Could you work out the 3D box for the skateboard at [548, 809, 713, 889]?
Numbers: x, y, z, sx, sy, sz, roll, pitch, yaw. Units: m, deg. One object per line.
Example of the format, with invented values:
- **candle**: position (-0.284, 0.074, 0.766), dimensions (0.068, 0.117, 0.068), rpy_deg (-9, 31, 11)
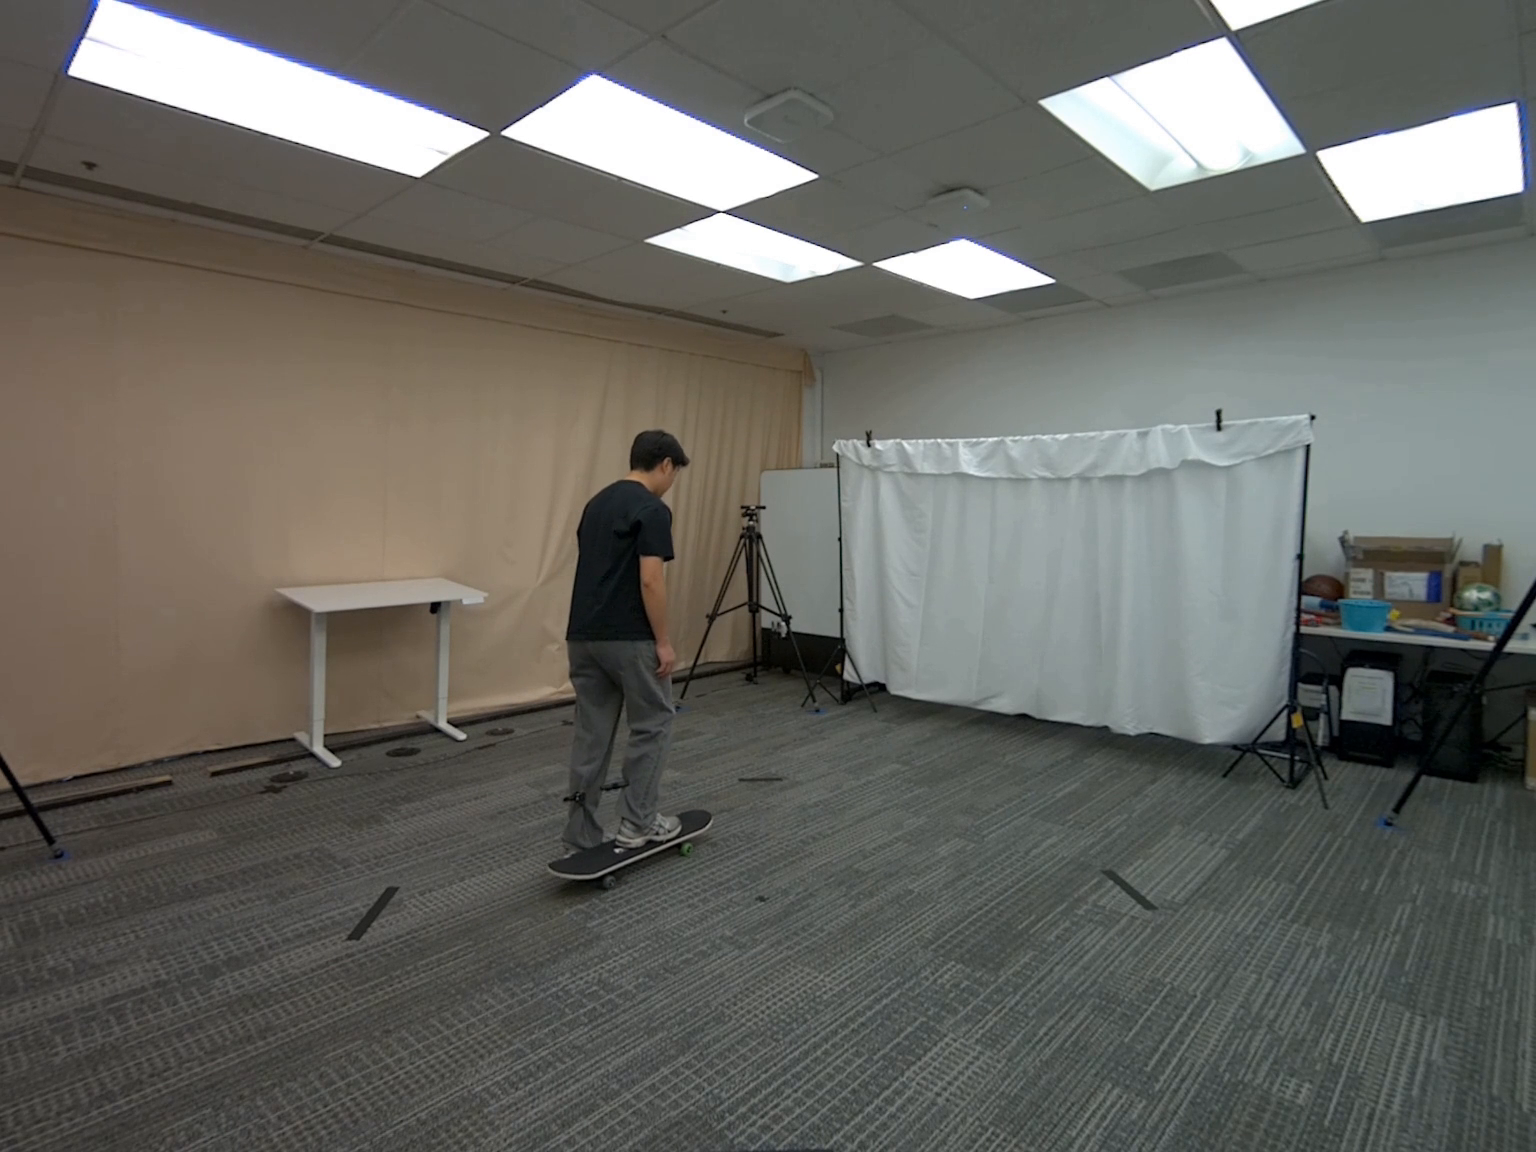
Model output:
- **skateboard**: position (-0.504, 1.077, 3.268), dimensions (0.200, 0.110, 0.762), rpy_deg (4, 8, 40)
